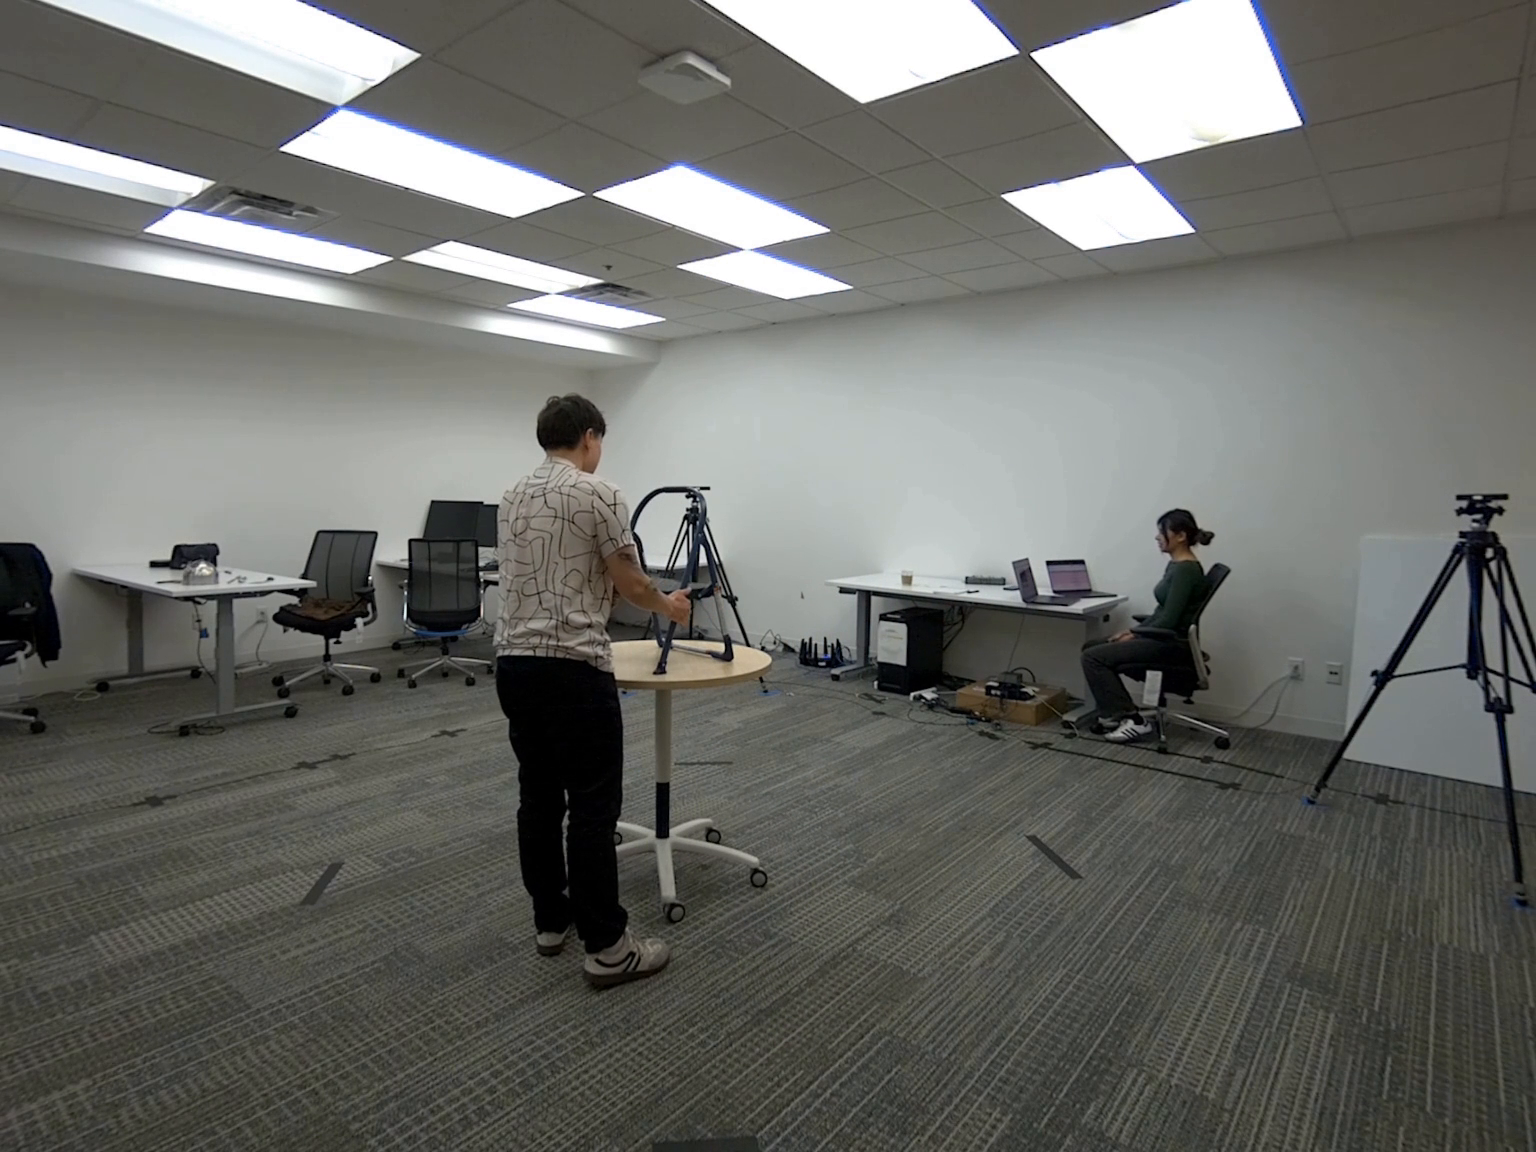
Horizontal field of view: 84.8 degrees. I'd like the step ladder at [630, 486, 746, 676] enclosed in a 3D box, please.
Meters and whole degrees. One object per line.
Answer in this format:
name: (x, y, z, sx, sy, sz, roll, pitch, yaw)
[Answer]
step ladder: (-0.388, -0.014, 2.985, 0.339, 0.604, 0.445, -2, 5, -45)
